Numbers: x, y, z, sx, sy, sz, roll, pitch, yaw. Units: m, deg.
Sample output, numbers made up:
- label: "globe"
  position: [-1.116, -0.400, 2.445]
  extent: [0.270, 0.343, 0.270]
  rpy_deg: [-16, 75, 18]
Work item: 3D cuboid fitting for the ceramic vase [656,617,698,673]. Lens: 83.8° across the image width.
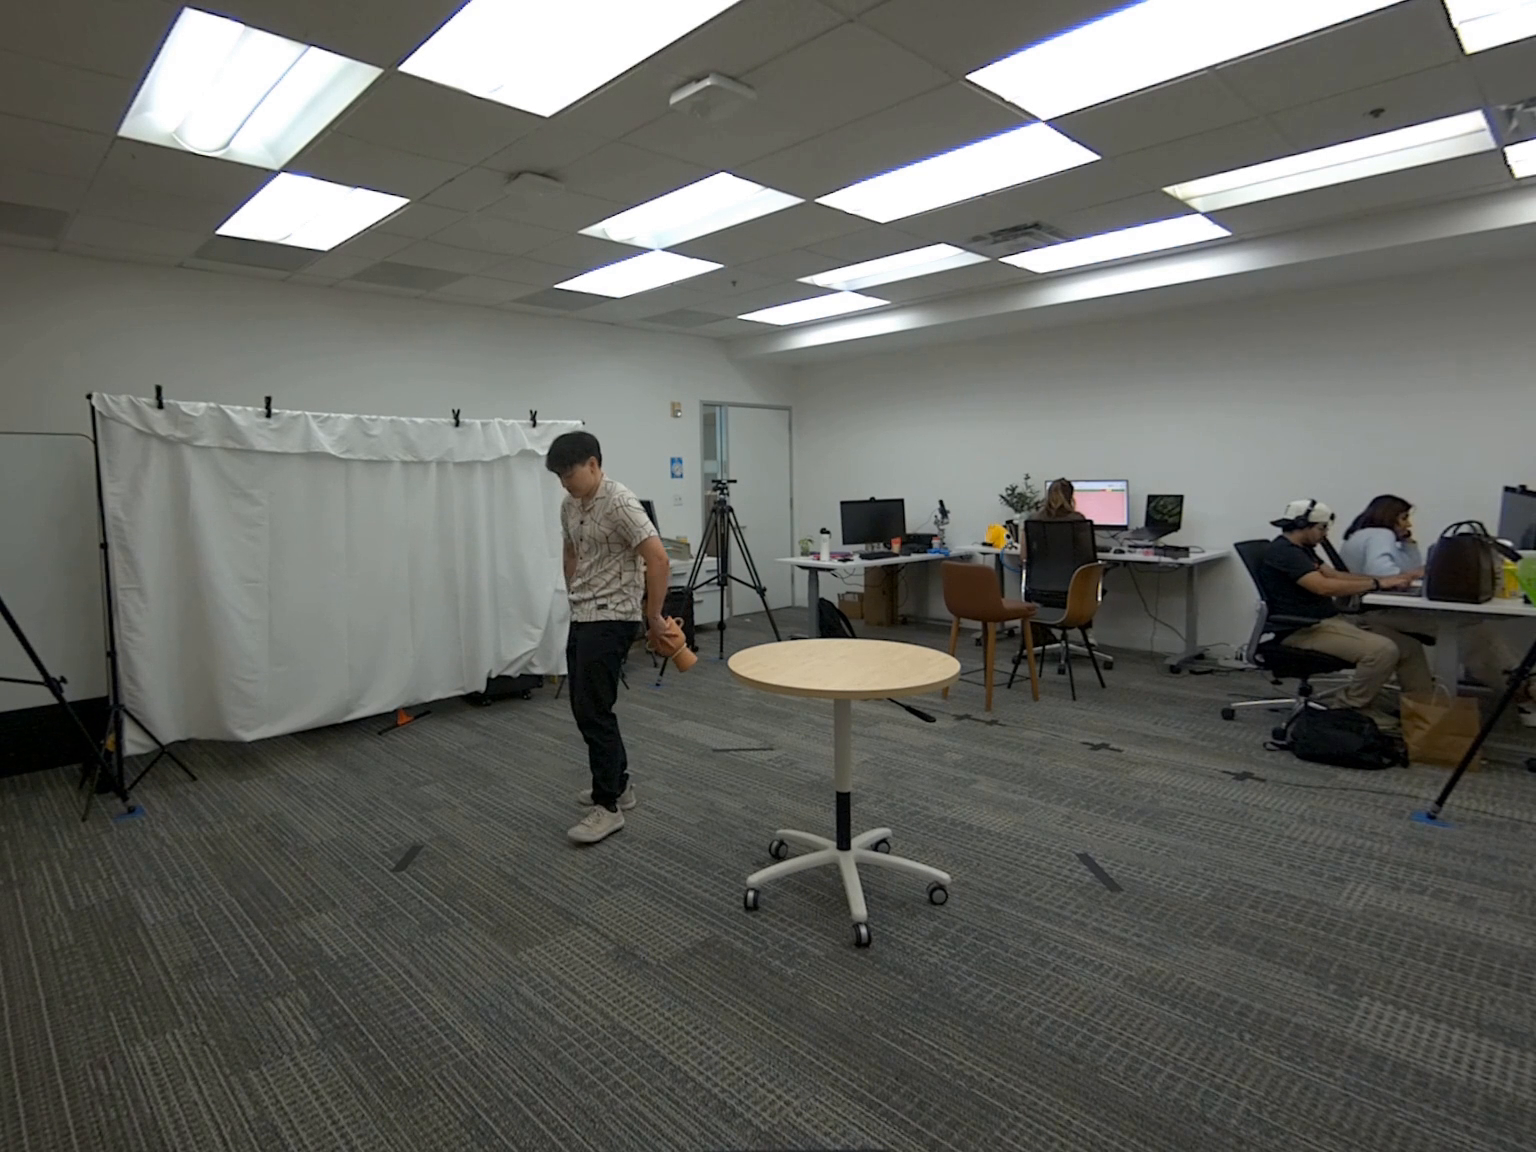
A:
- label: "ceramic vase"
  position: [-0.402, 0.294, 3.617]
  extent: [0.159, 0.218, 0.135]
  rpy_deg: [-36, 6, 19]
